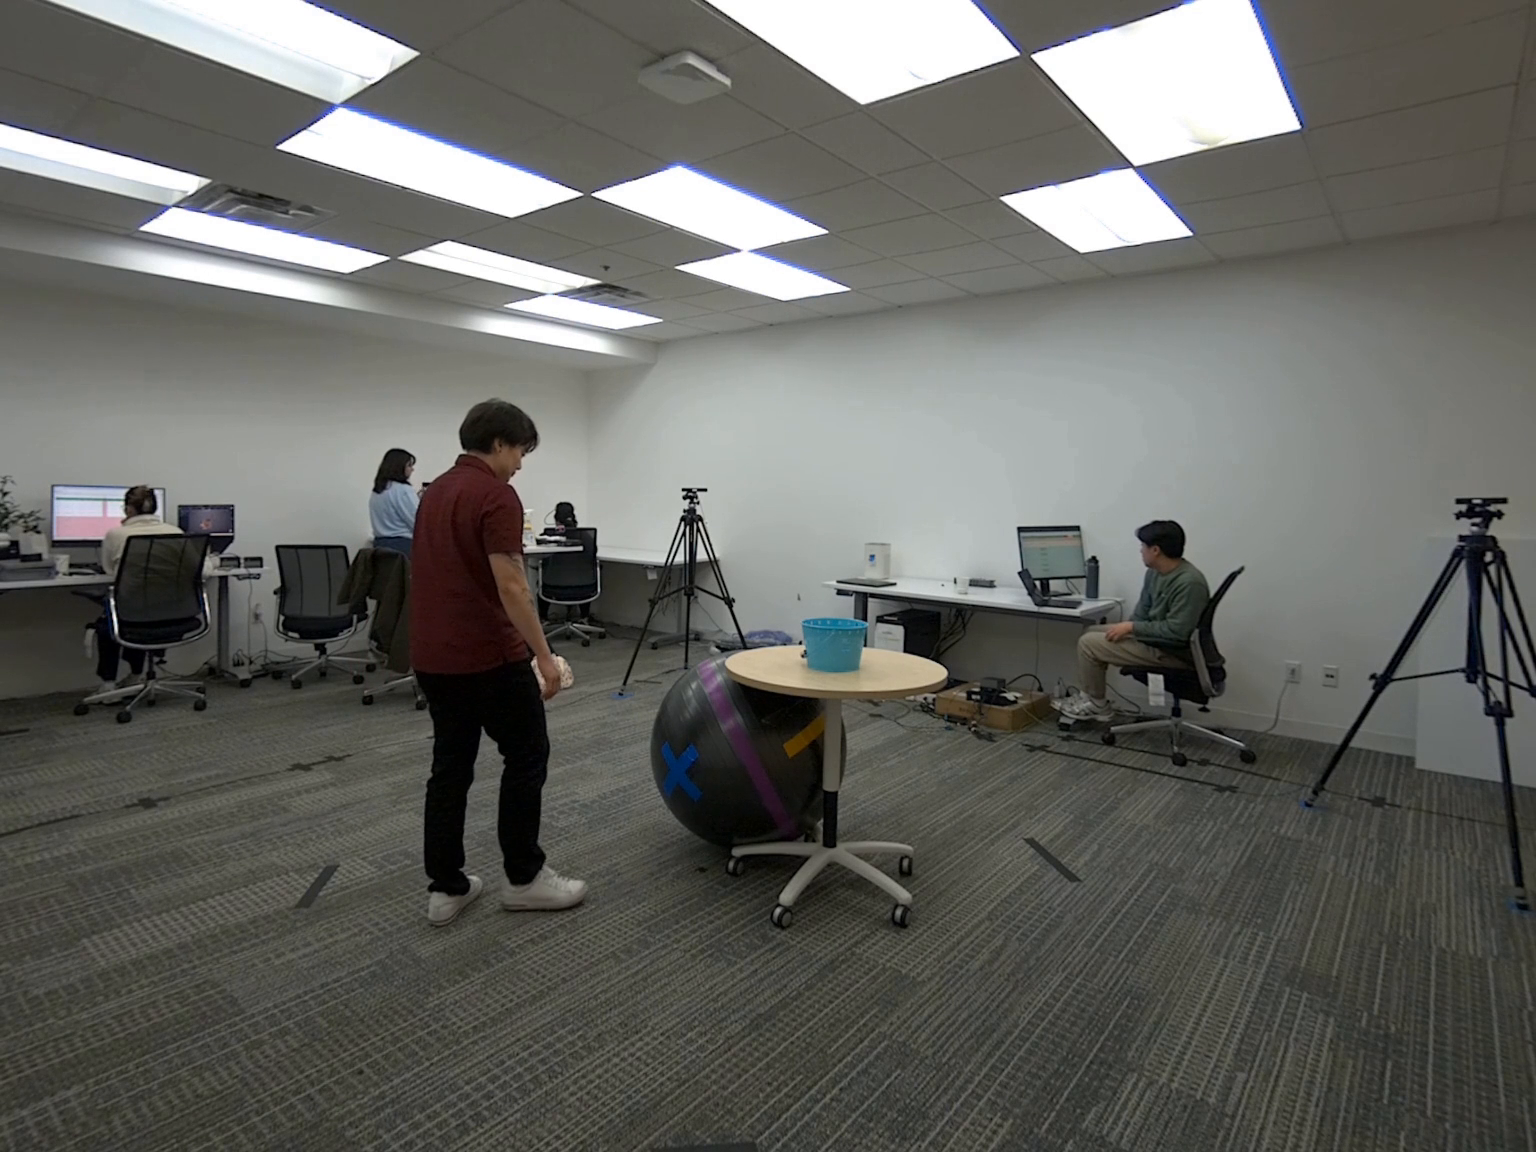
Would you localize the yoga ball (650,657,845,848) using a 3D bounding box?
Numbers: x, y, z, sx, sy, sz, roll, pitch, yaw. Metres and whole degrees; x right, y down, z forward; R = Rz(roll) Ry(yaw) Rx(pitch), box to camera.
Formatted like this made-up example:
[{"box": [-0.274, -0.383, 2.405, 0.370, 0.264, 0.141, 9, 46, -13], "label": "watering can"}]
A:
[{"box": [-0.088, 0.671, 3.304, 0.757, 0.756, 0.761, 1, 4, -2], "label": "yoga ball"}]
